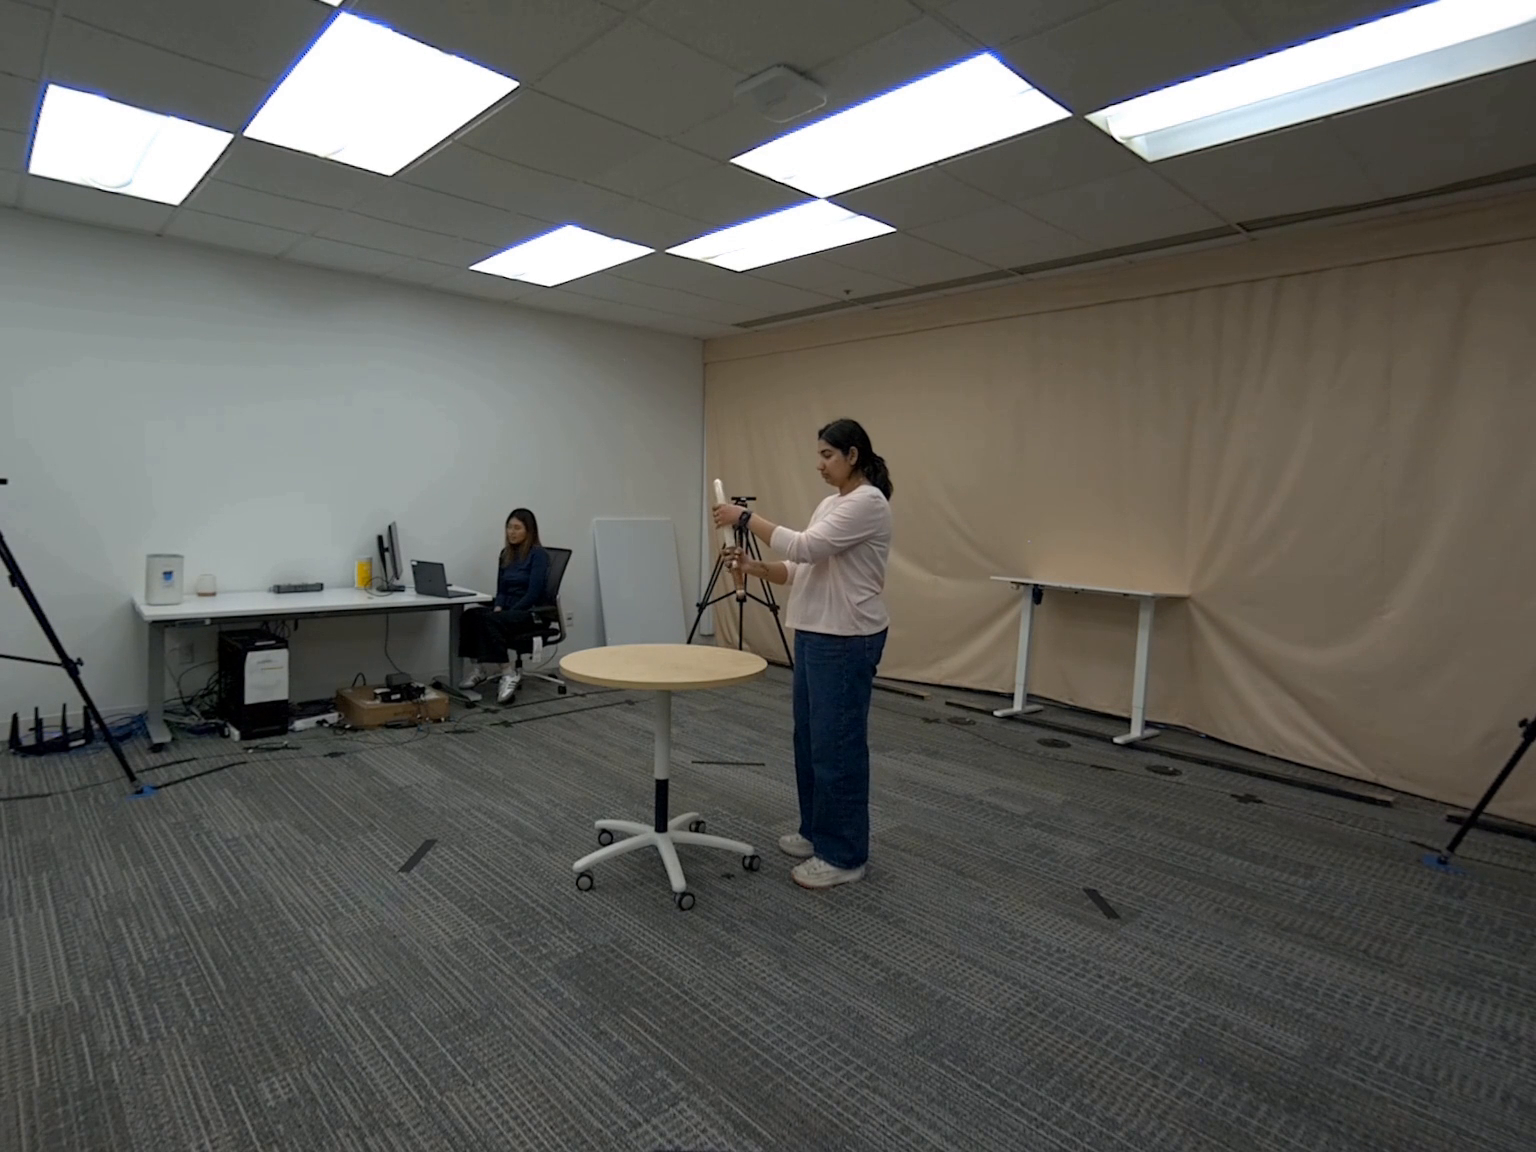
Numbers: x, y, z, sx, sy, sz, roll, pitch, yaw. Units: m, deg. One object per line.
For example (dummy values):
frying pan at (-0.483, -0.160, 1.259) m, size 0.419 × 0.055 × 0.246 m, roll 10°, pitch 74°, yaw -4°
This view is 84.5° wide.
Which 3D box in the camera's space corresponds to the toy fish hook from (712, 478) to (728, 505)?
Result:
toy fish hook at (-0.135, -0.122, 3.099) m, size 0.048 × 0.517 × 0.219 m, roll -16°, pitch -25°, yaw 3°
